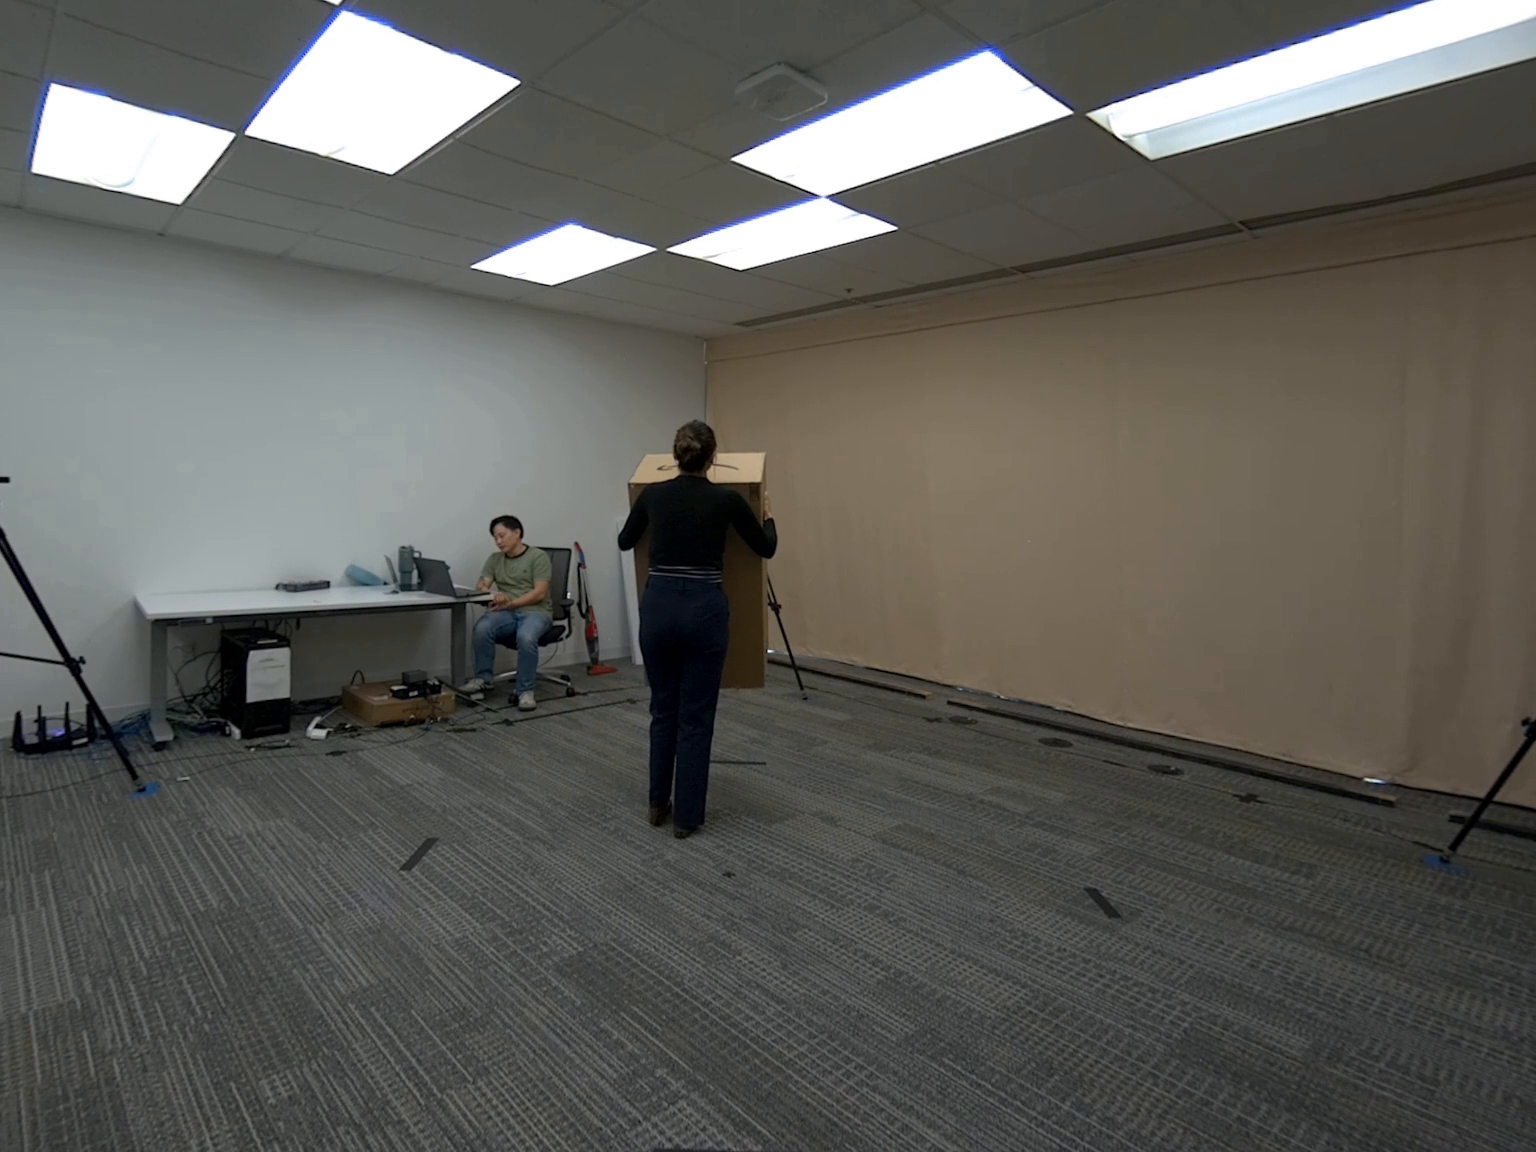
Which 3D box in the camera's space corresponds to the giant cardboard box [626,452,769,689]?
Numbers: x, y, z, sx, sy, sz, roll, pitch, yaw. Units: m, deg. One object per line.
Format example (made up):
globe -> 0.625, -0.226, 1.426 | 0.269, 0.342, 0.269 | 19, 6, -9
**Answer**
giant cardboard box -> -0.304, -0.021, 3.953 | 0.580, 1.009, 0.431 | 1, 24, 5
